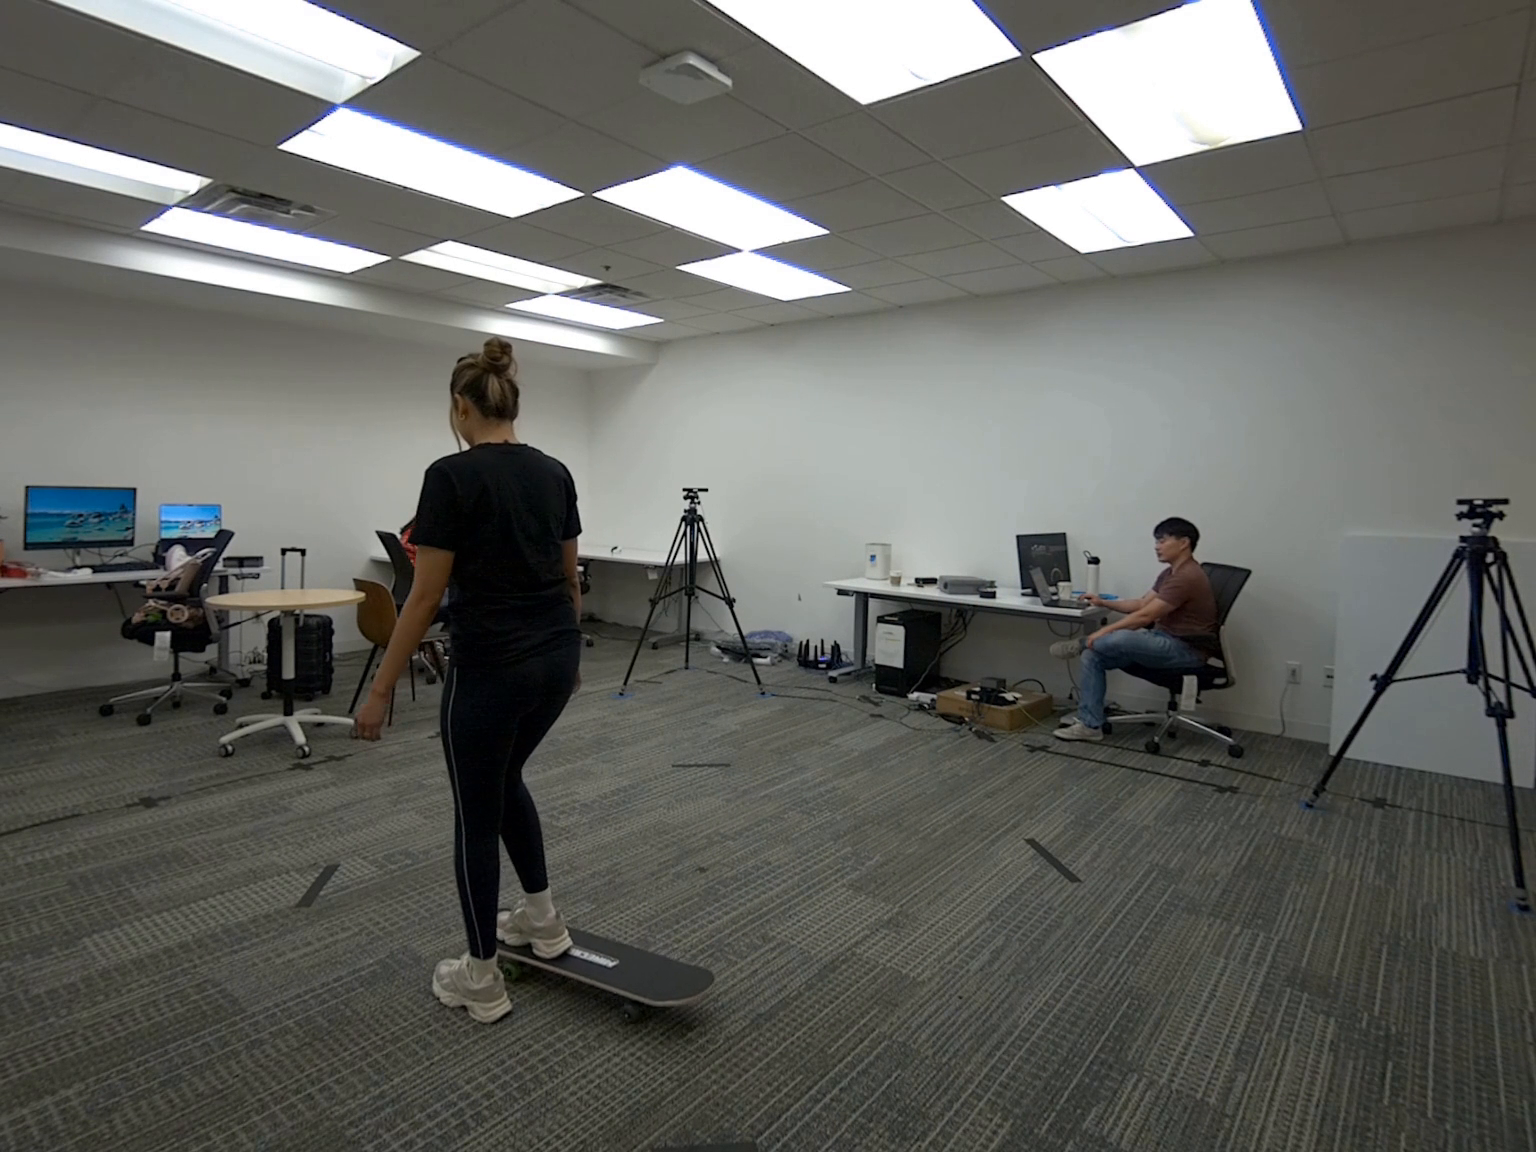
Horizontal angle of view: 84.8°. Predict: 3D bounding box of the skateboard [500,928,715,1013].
[{"bbox_3d":[-0.522,1.086,2.364,0.807,0.110,0.189,2,6,27],"label":"skateboard"}]
